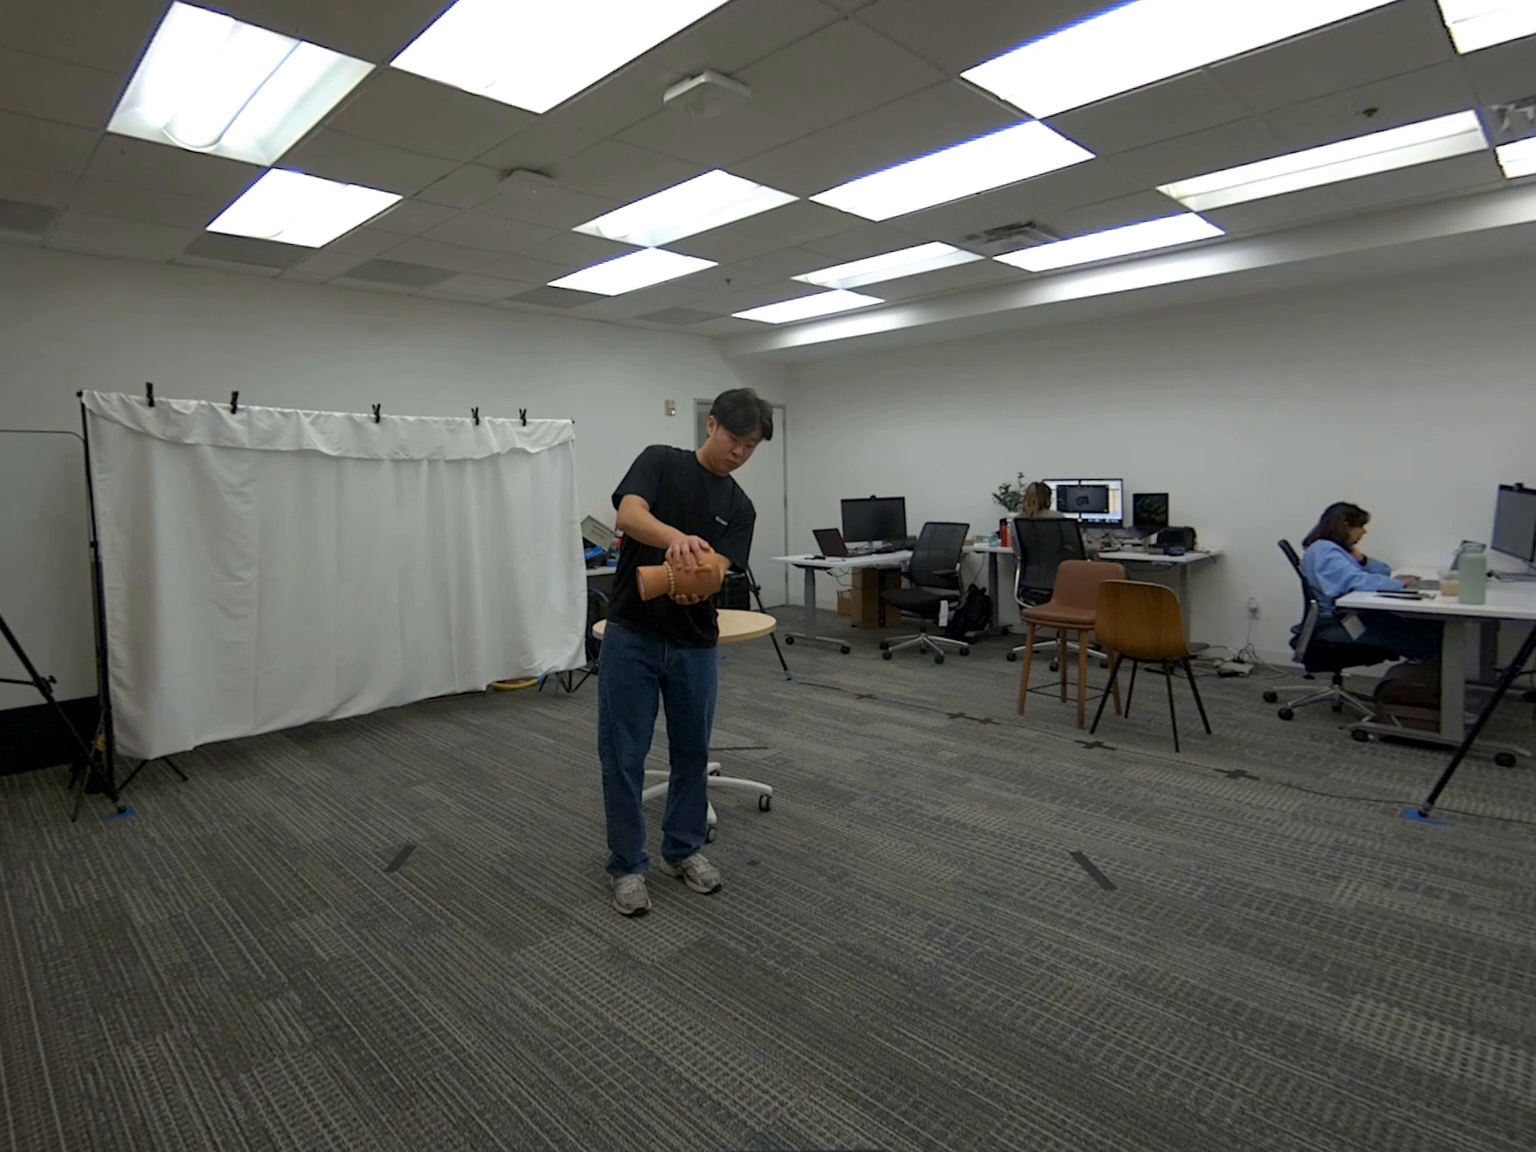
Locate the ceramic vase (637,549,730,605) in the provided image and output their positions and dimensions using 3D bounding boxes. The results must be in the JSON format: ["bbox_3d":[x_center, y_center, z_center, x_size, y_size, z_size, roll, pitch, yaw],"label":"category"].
[{"bbox_3d":[-0.252,0.004,2.447,0.217,0.155,0.139,-11,50,-15],"label":"ceramic vase"}]
